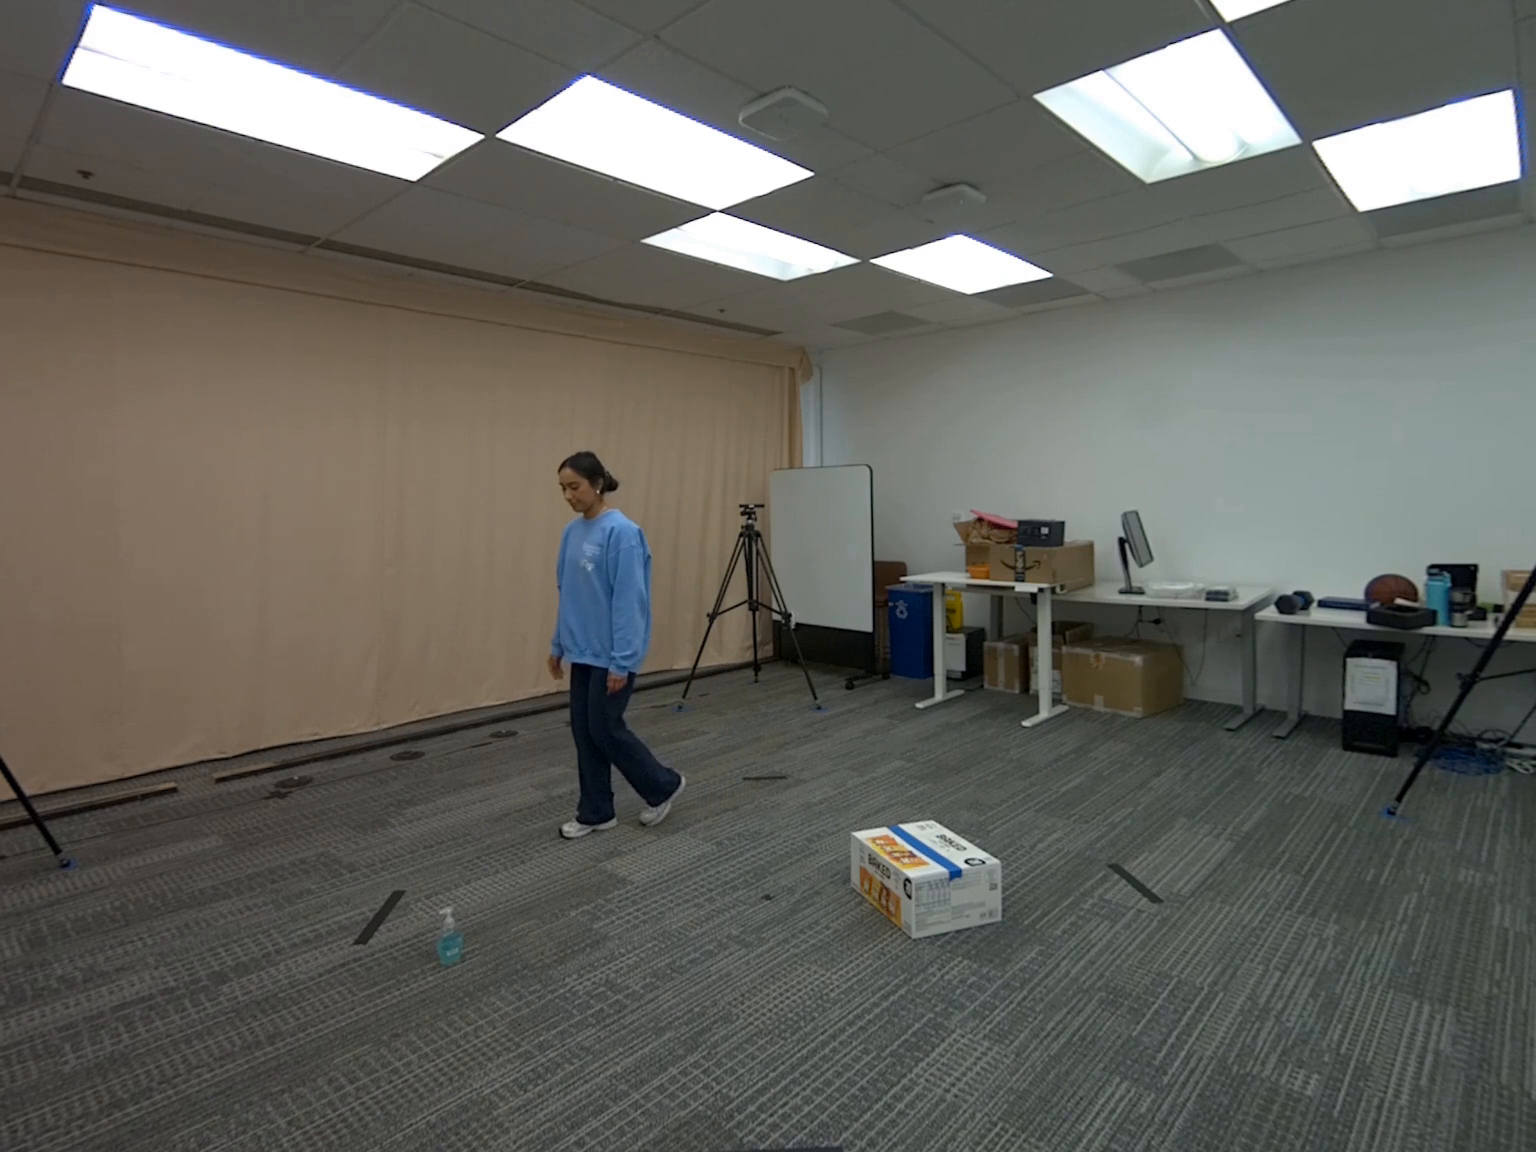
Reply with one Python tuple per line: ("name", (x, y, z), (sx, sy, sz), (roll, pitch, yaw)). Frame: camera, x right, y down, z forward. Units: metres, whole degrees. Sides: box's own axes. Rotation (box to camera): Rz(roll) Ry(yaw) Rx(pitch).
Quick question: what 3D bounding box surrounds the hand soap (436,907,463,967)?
("hand soap", (-0.984, 1.105, 2.608), (0.045, 0.168, 0.082), (-2, 2, 39))
